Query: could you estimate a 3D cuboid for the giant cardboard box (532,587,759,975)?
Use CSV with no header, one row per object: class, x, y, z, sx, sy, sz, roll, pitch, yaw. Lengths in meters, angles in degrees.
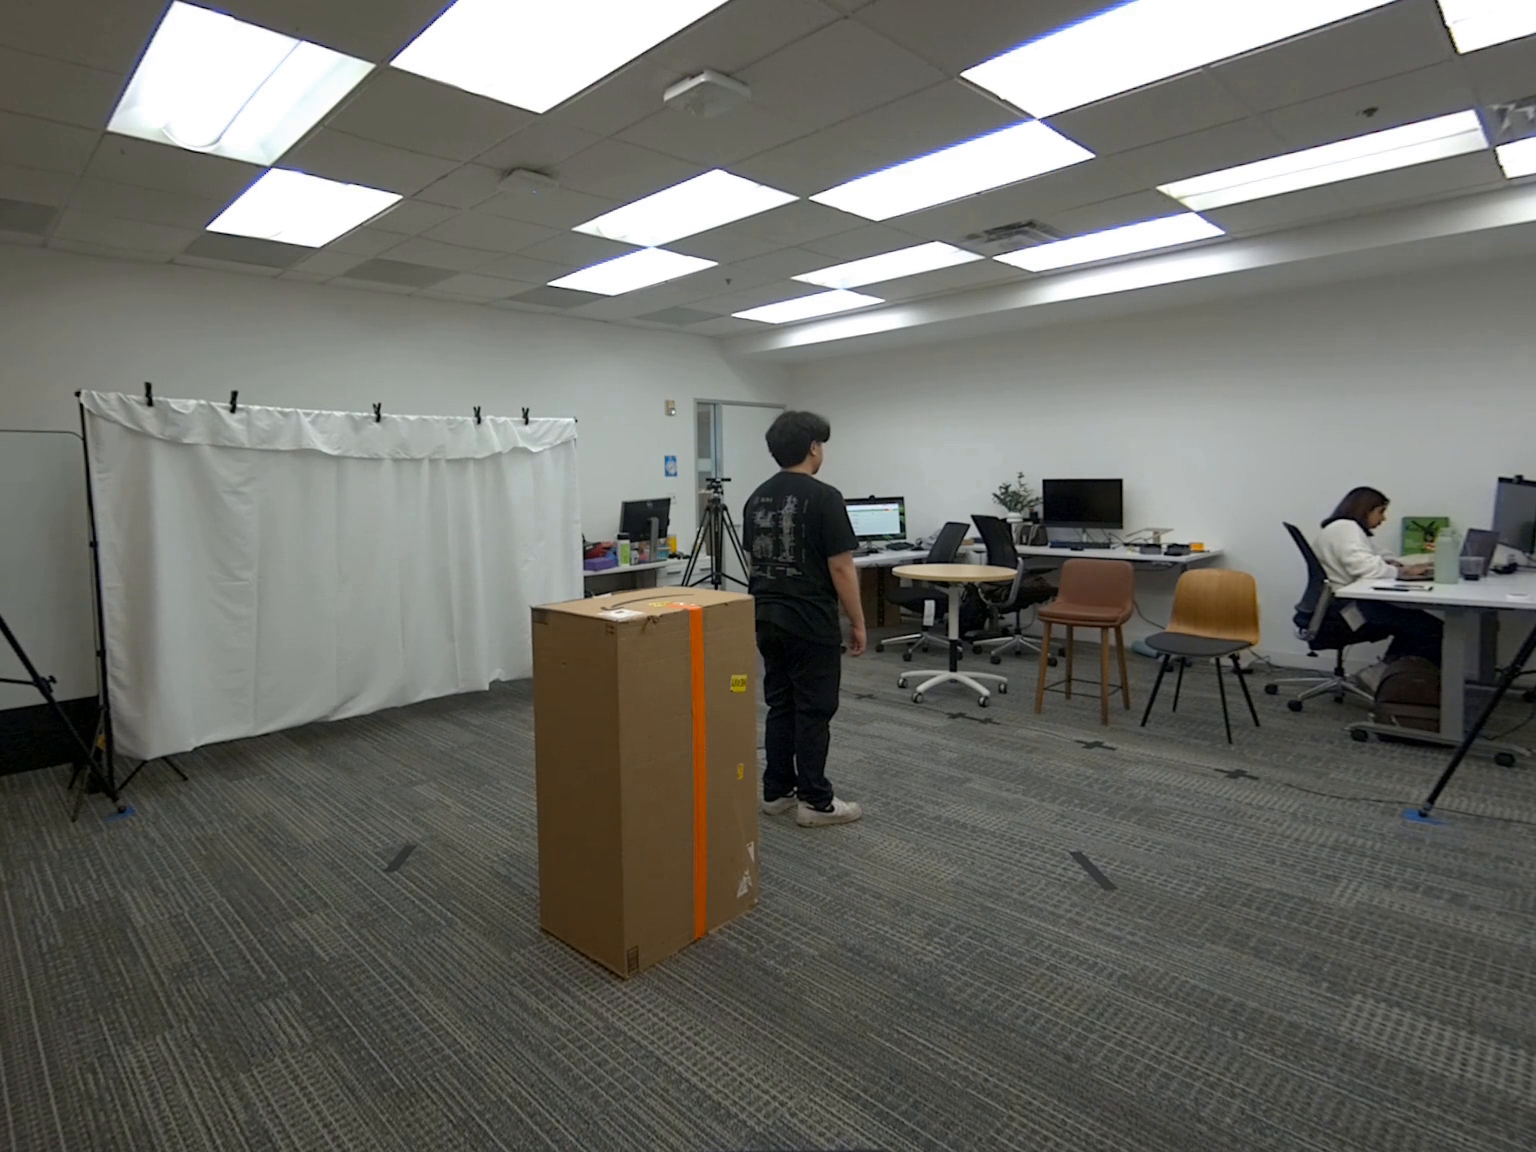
giant cardboard box,-0.379,0.584,2.707,0.461,1.022,0.569,4,7,43
